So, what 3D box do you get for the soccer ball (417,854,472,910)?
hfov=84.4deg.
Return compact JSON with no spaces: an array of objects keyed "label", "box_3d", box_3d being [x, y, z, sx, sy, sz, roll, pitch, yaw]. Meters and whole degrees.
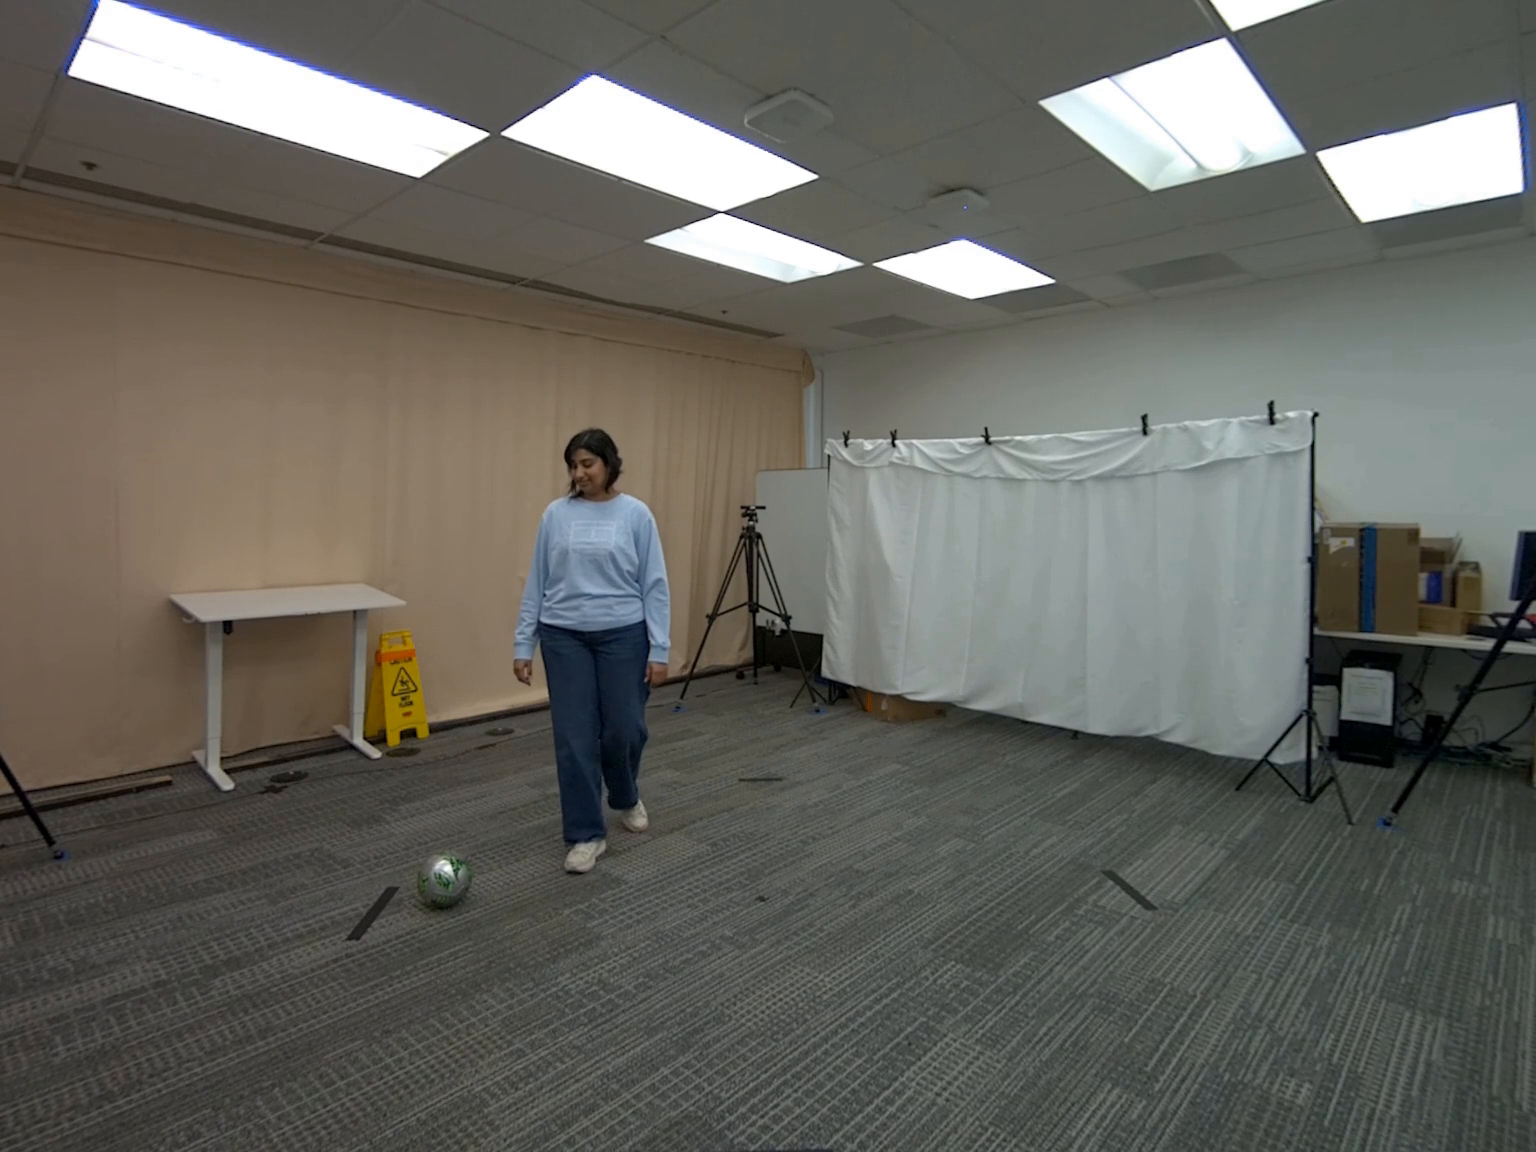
[{"label":"soccer ball","box_3d":[-1.137,1.063,2.952,0.187,0.187,0.188,0,4,-2]}]
